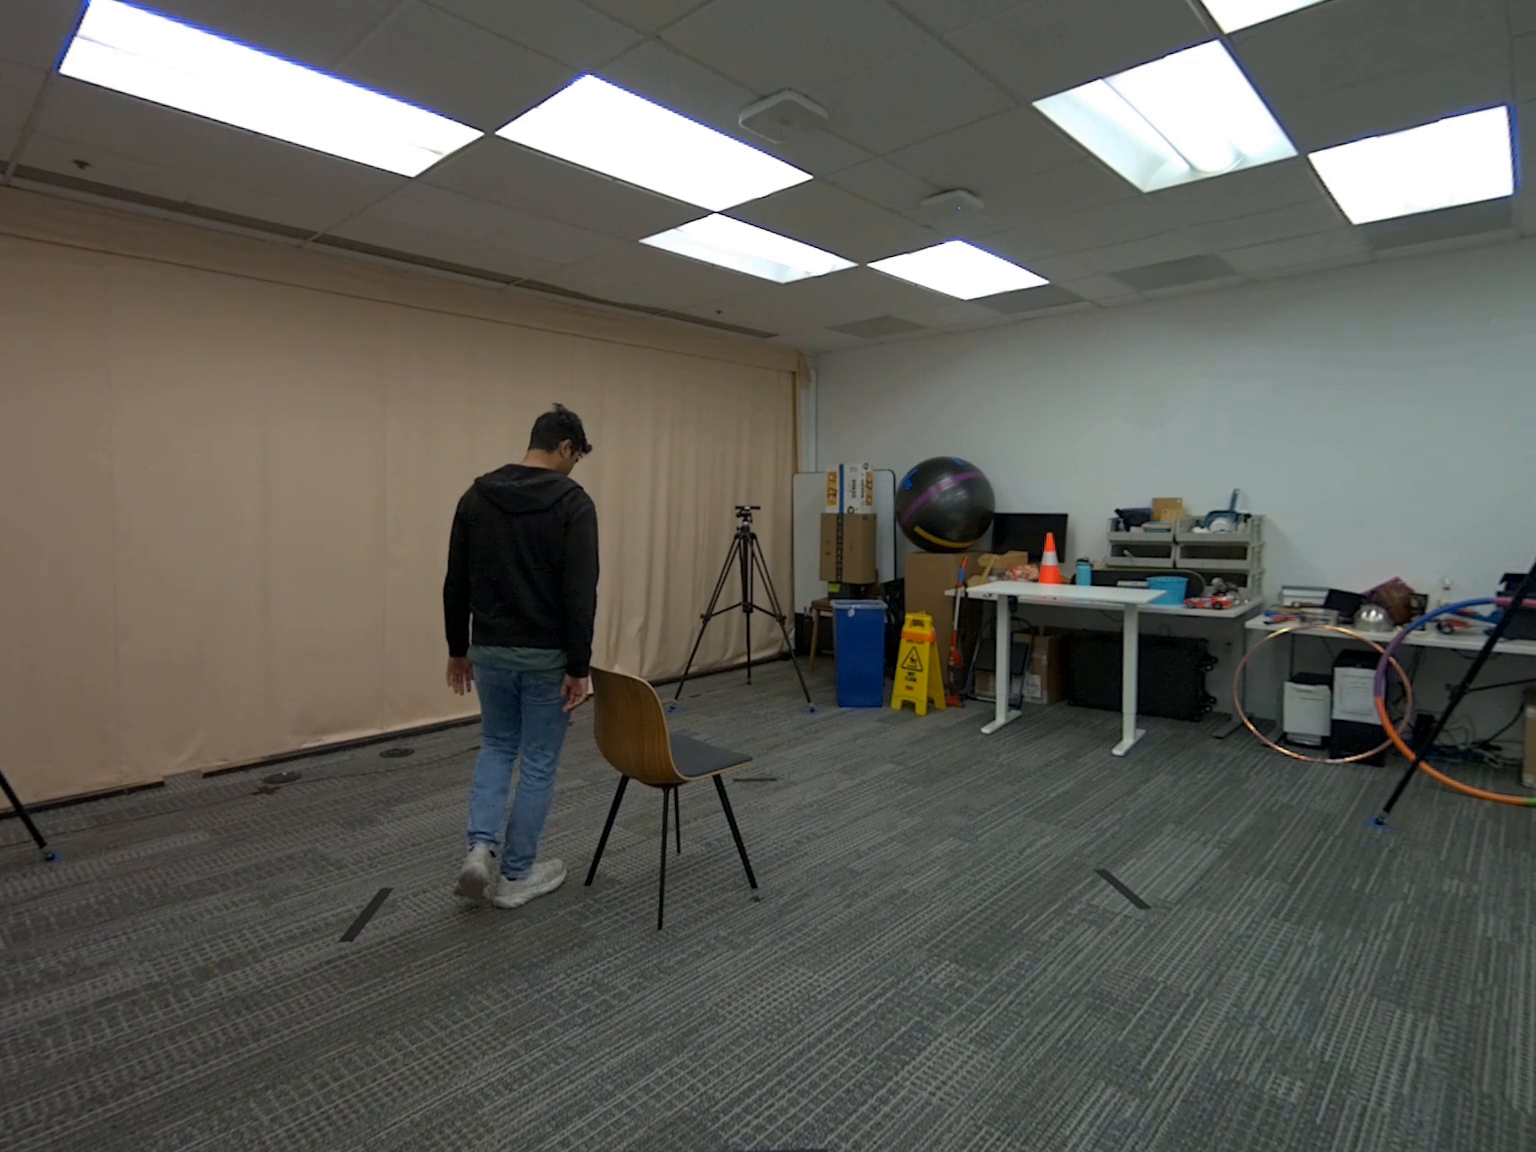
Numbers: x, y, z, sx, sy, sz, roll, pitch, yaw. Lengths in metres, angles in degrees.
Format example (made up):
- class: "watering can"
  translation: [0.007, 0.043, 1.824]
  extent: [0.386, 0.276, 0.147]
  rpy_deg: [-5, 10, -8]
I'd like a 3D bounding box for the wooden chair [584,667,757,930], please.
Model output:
- class: "wooden chair"
  translation: [-0.348, 0.716, 3.052]
  extent: [0.508, 0.874, 0.494]
  rpy_deg: [-9, 8, -43]
